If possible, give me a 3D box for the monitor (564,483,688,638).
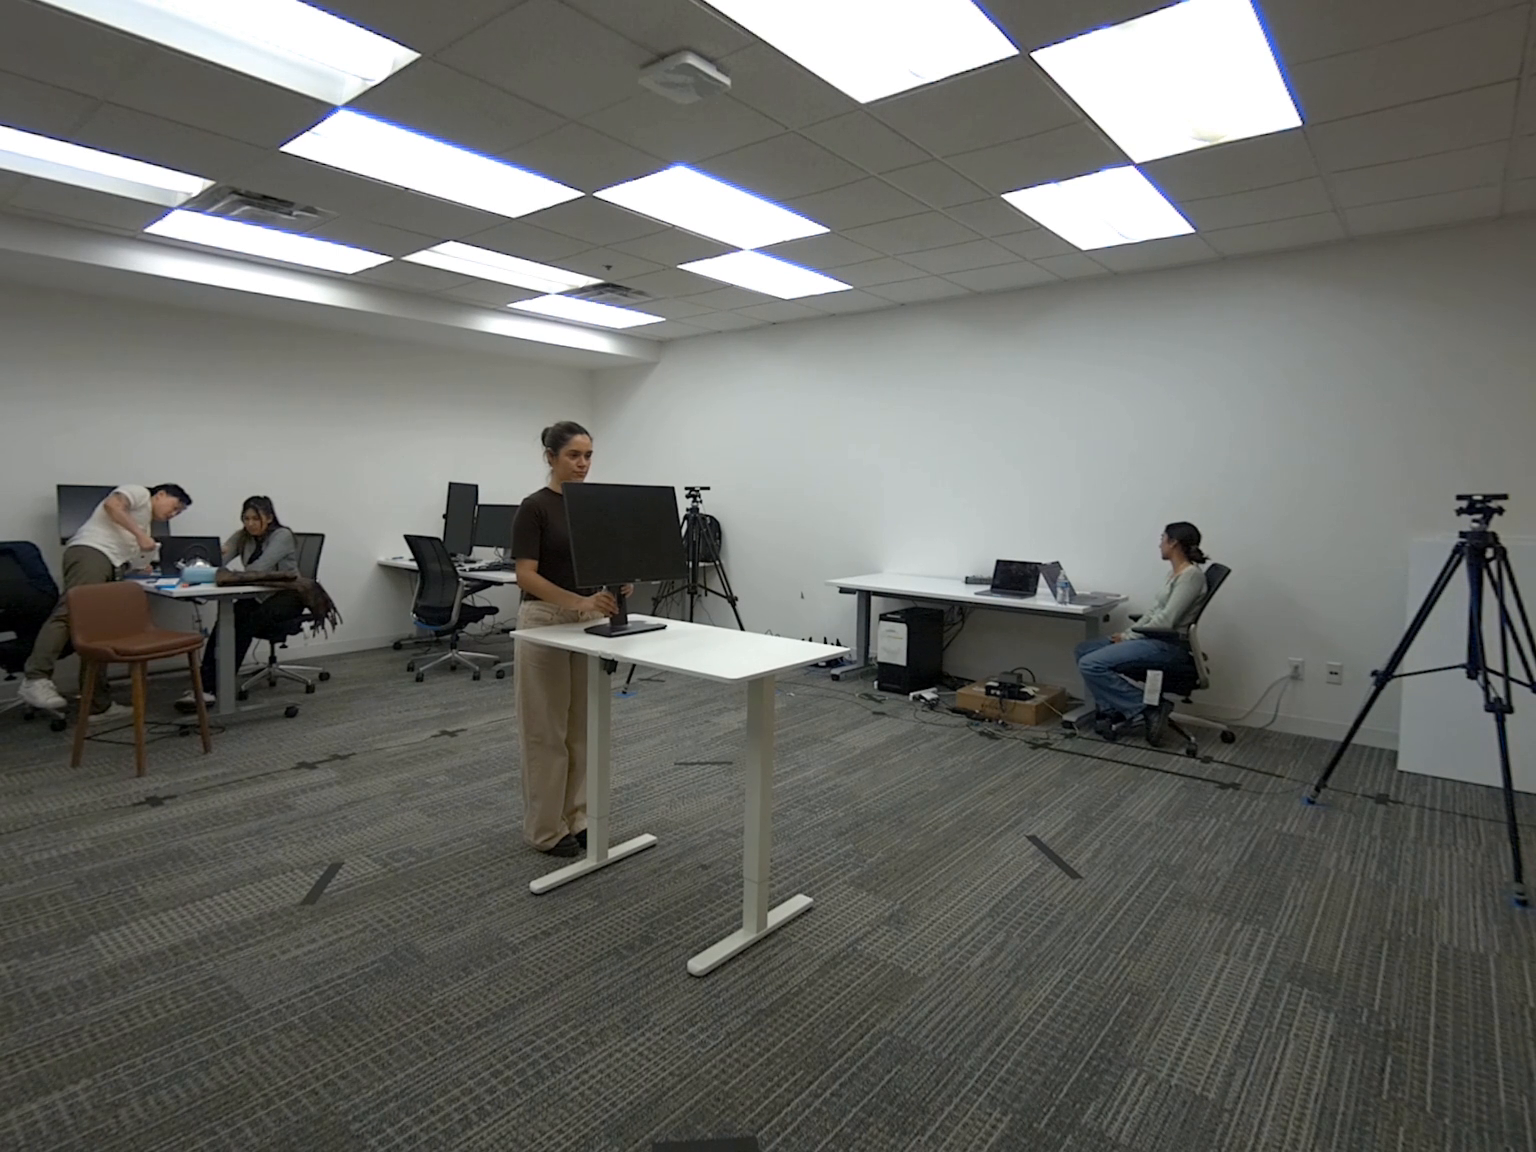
[{"bbox_3d":[-0.518,-0.066,2.980,0.181,0.514,0.514,8,6,36],"label":"monitor"}]
